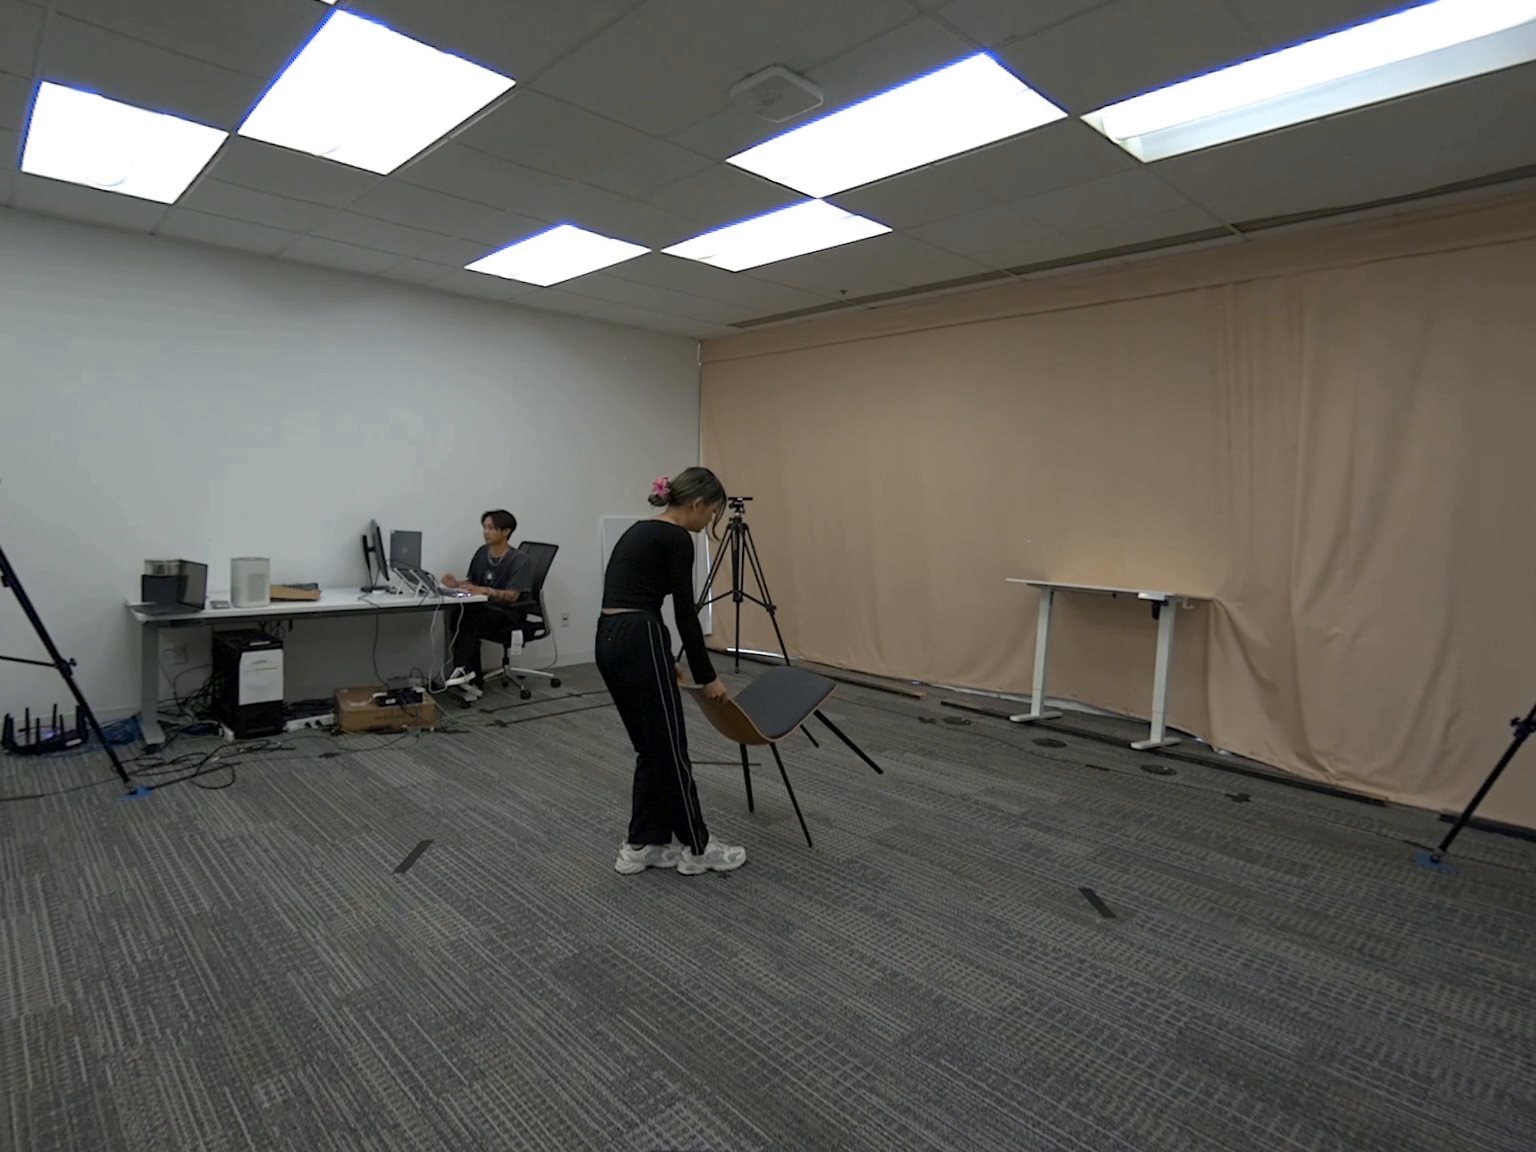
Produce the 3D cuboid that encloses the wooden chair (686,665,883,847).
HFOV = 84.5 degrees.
[{"bbox_3d":[0.013,0.582,3.514,0.522,0.859,0.489,-43,24,-24],"label":"wooden chair"}]
